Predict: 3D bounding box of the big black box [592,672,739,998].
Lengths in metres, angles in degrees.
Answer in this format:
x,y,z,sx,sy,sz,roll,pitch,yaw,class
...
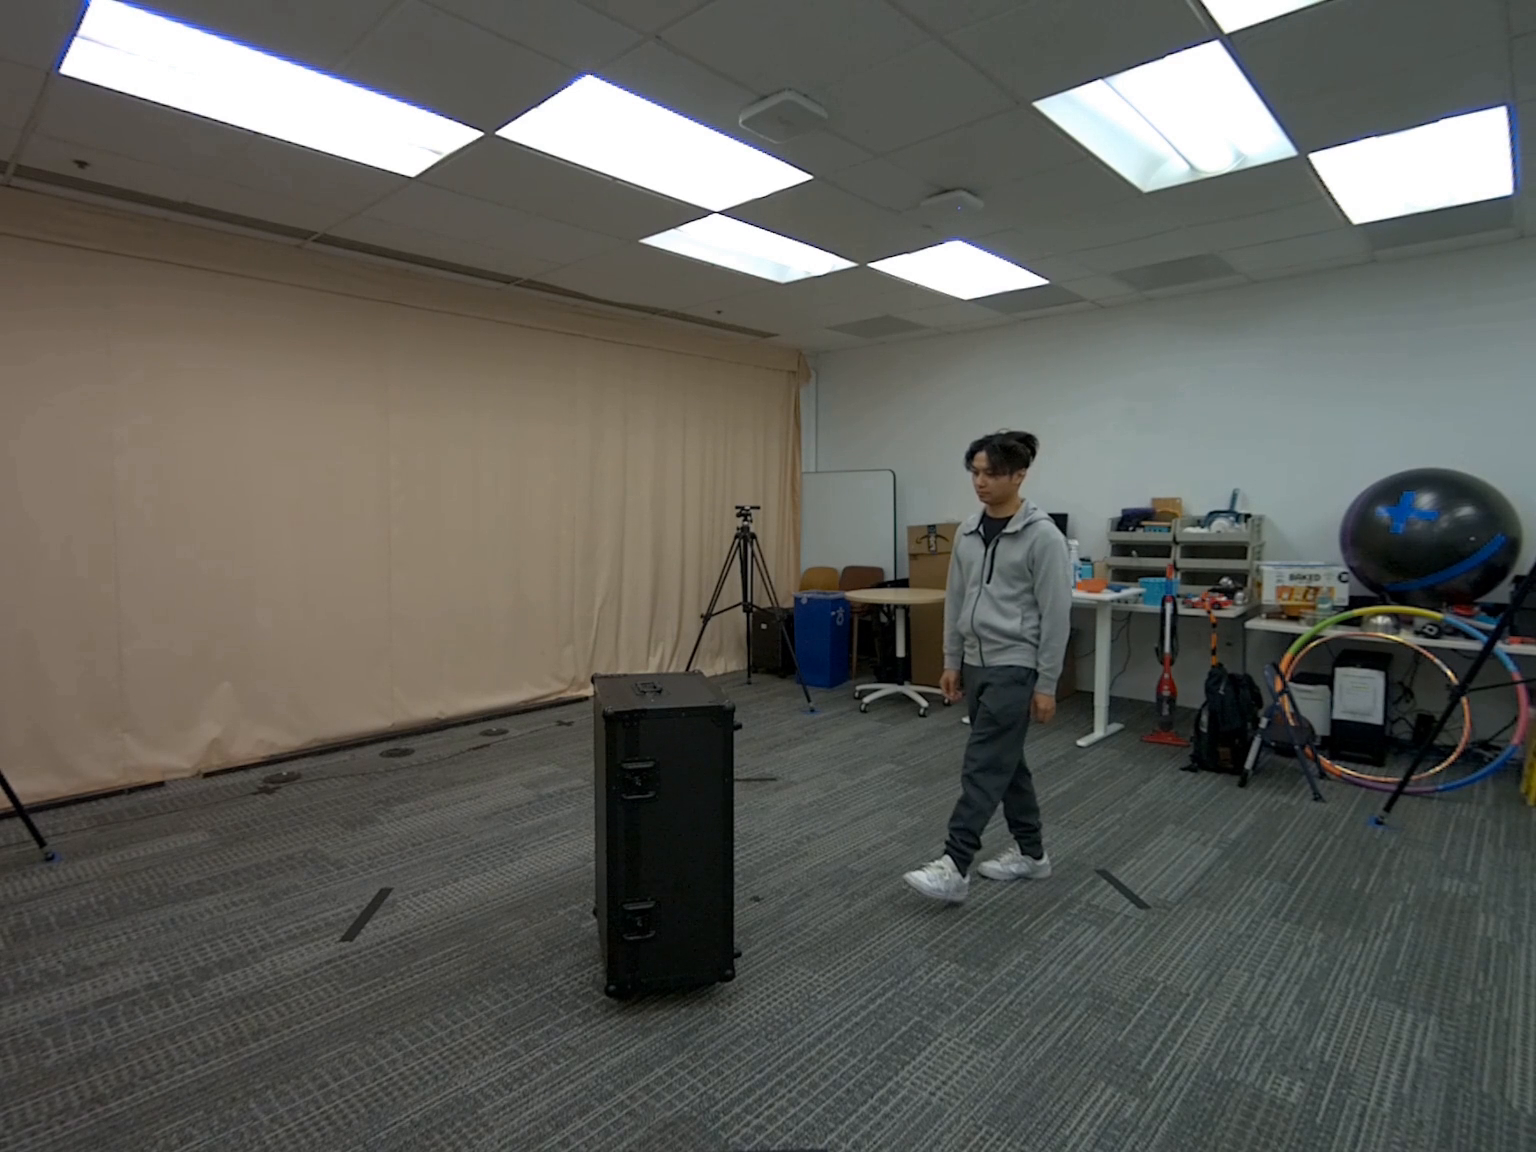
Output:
x,y,z,sx,sy,sz,roll,pitch,yaw,class
-0.321,0.701,2.505,0.390,0.859,0.531,-2,4,-16,big black box
